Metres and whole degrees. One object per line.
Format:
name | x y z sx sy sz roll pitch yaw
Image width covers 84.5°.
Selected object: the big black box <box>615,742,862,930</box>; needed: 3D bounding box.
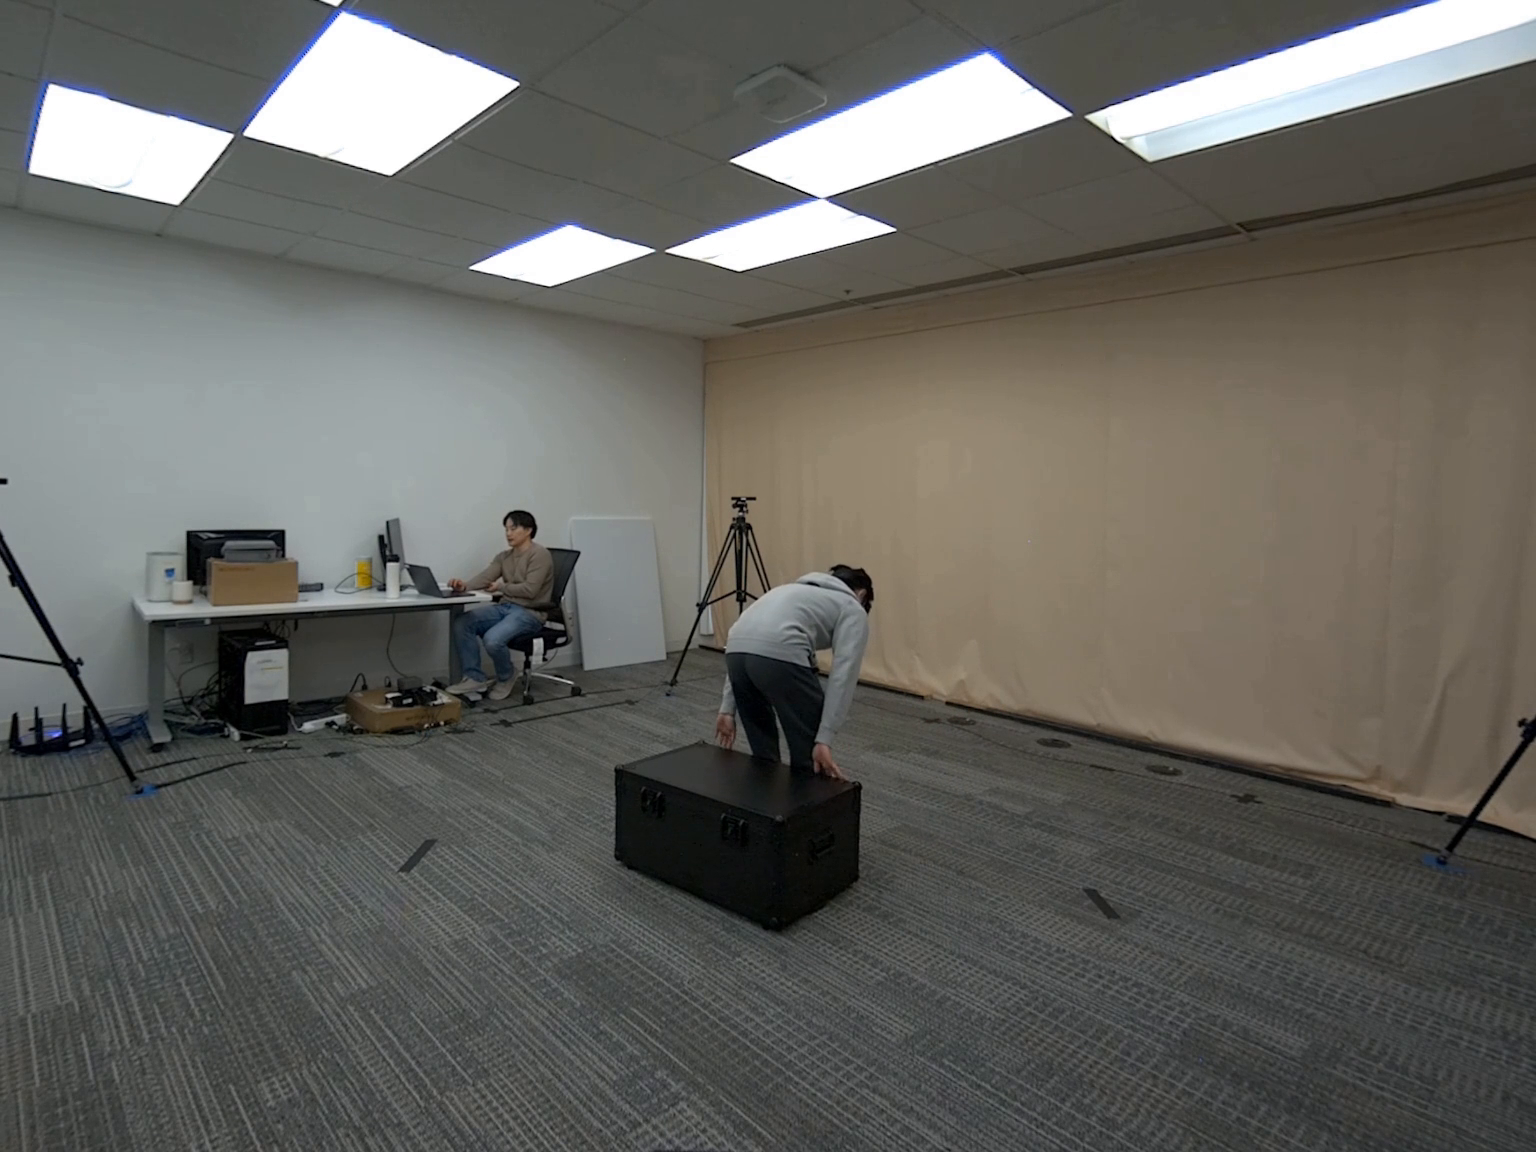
big black box | -0.107 0.920 3.070 0.883 0.395 0.510 5 6 39
